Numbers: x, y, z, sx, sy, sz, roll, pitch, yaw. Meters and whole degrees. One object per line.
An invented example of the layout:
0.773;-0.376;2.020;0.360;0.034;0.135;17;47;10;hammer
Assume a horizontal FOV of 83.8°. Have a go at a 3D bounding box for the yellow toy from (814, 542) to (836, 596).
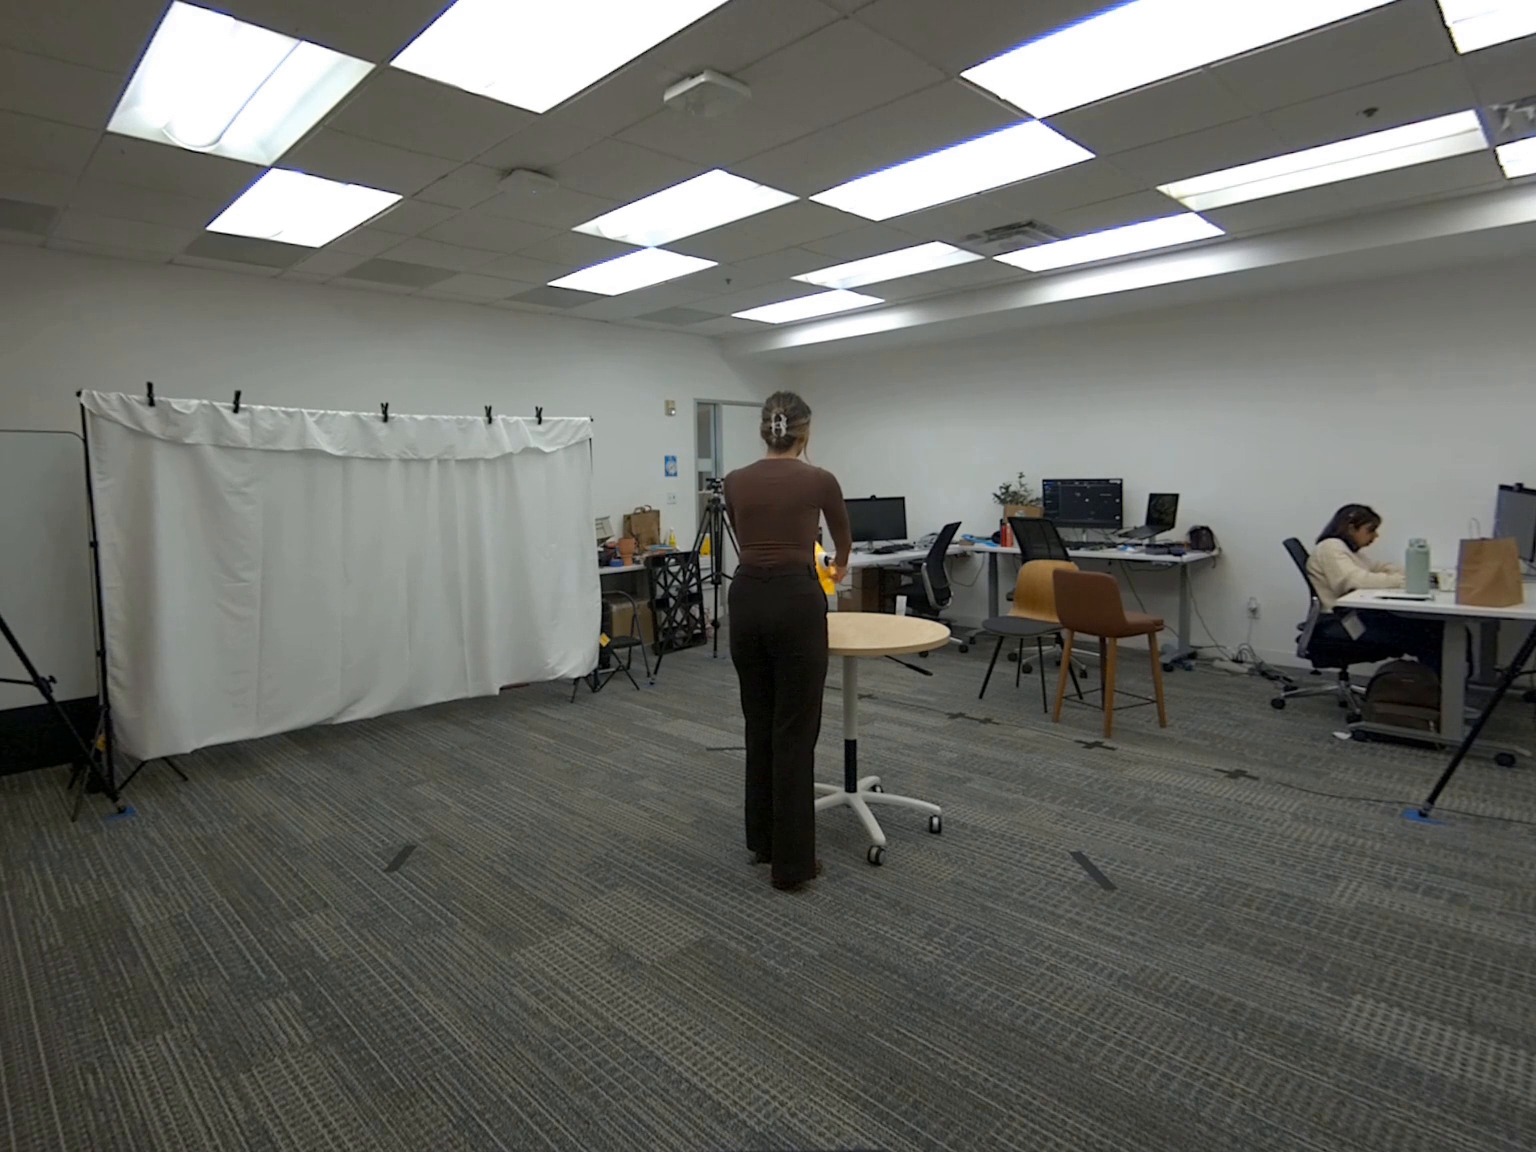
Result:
0.182;-0.050;3.553;0.206;0.230;0.192;2;2;6;yellow toy
